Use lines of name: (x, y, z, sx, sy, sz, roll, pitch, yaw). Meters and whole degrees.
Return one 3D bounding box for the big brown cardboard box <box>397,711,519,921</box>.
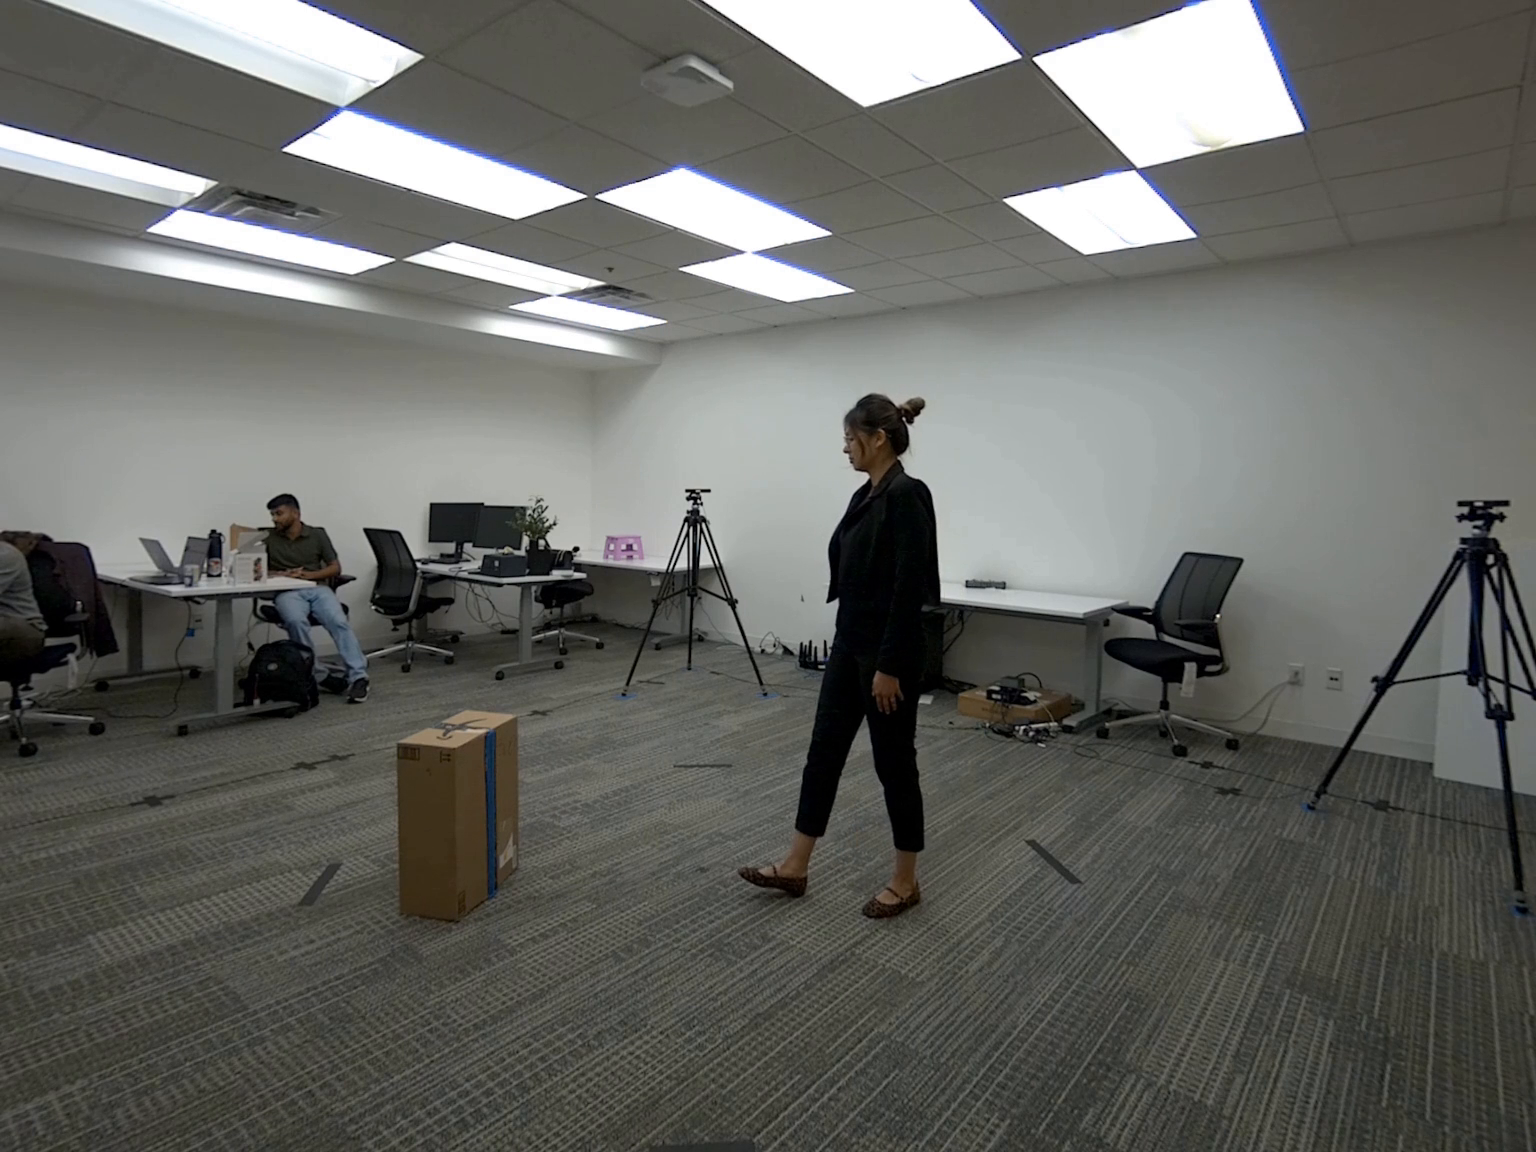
big brown cardboard box: (-1.059, 0.802, 2.906, 0.236, 0.587, 0.414, 1, 5, 12)
